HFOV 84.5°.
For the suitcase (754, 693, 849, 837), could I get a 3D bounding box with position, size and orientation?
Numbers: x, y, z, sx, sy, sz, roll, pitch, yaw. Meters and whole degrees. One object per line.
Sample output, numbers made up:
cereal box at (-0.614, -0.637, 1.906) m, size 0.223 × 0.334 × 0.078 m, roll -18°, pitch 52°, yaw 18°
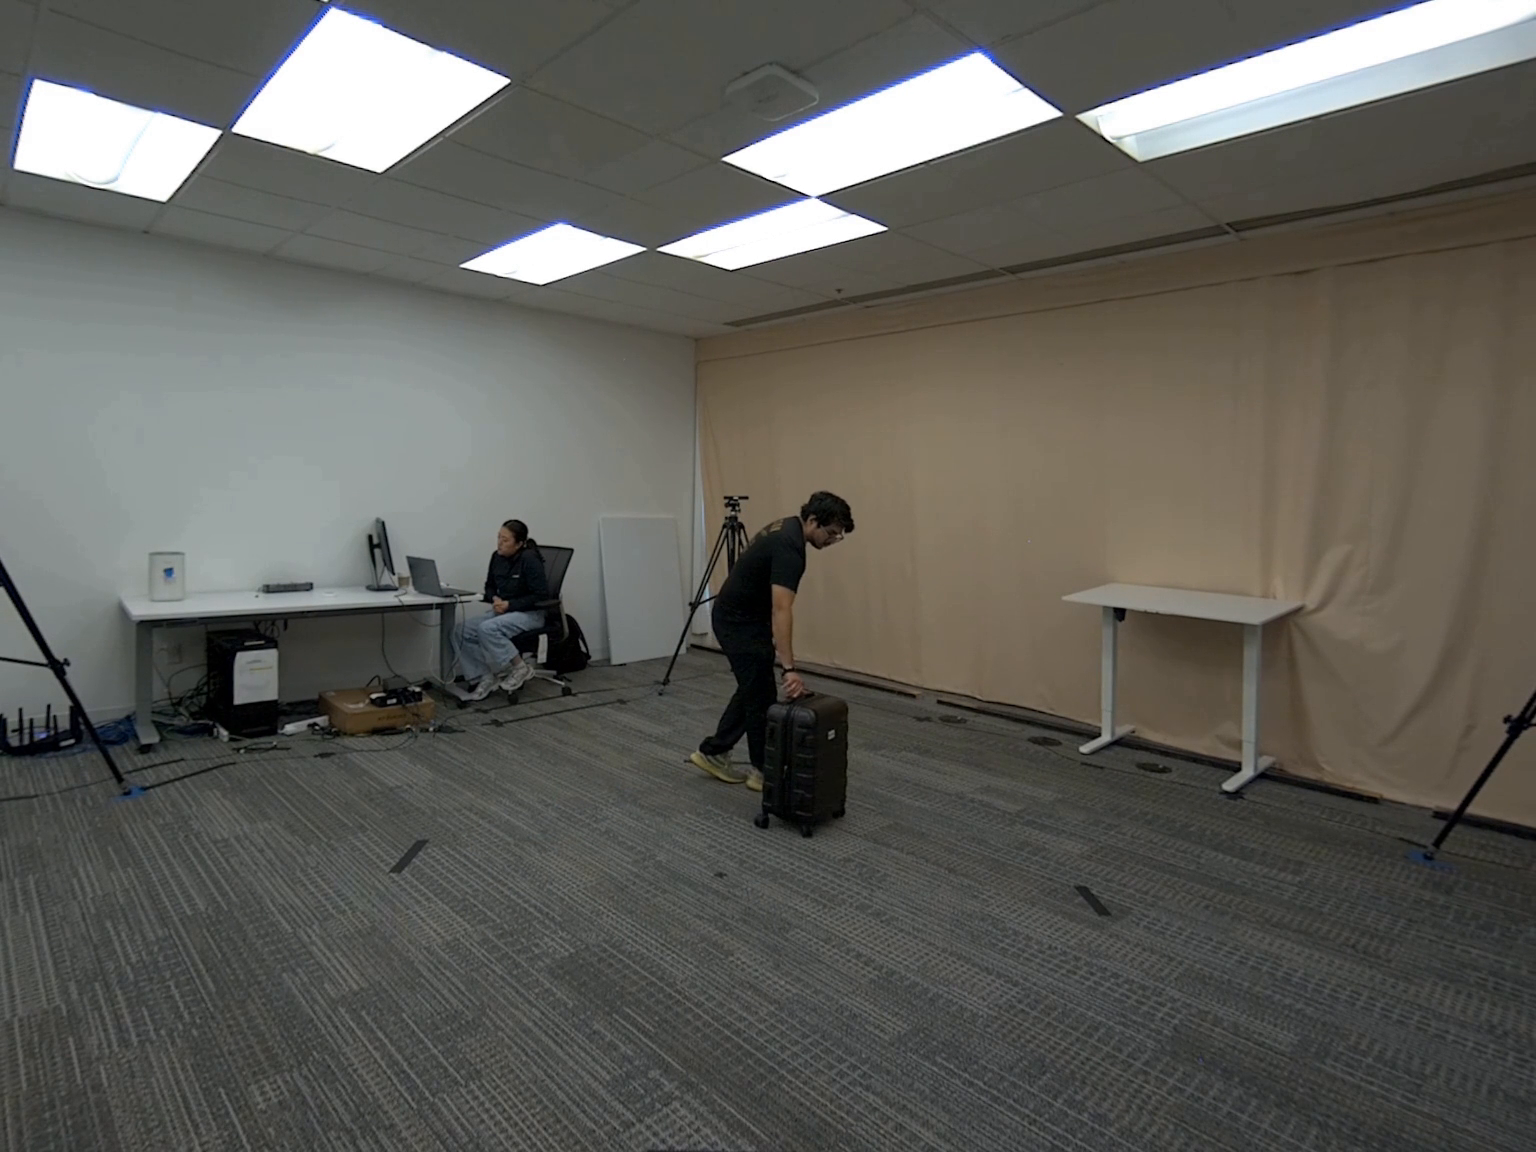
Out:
suitcase at (0.160, 0.788, 3.631) m, size 0.254 × 0.548 × 0.367 m, roll 5°, pitch 4°, yaw 33°
